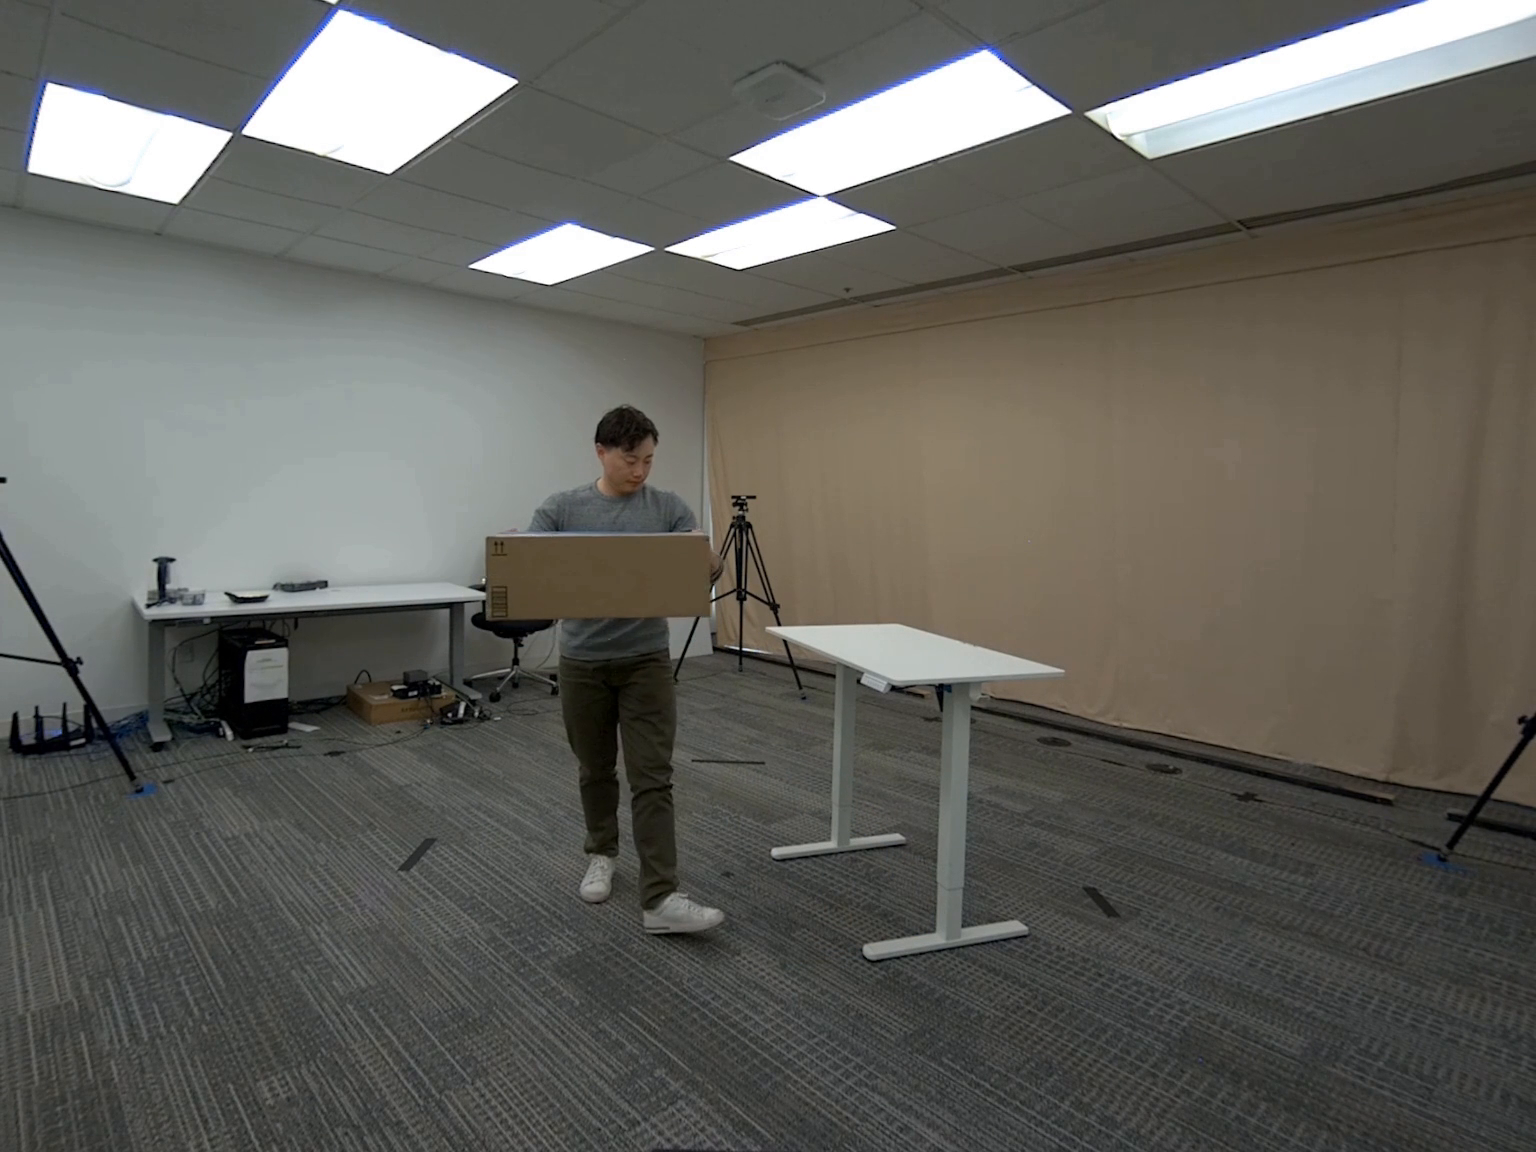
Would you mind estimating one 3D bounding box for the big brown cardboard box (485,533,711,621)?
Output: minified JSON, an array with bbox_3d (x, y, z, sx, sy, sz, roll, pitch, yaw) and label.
[{"bbox_3d":[-0.470,-0.006,2.336,0.585,0.233,0.421,1,3,-7],"label":"big brown cardboard box"}]
